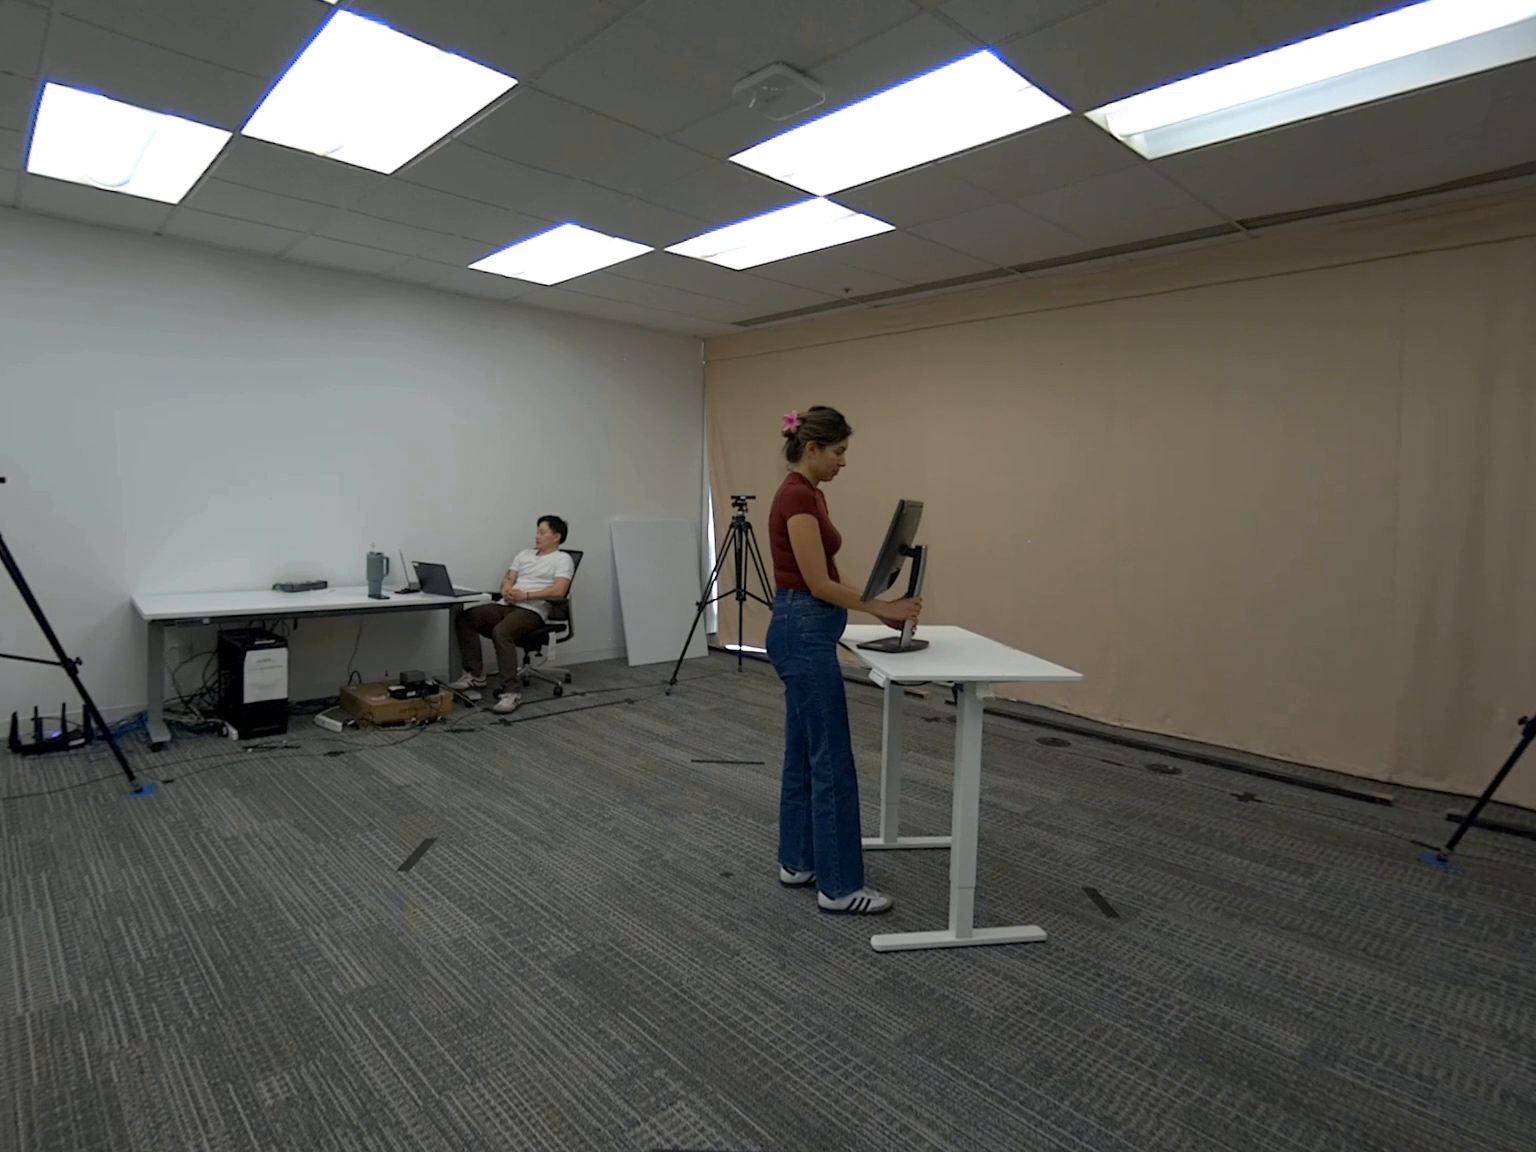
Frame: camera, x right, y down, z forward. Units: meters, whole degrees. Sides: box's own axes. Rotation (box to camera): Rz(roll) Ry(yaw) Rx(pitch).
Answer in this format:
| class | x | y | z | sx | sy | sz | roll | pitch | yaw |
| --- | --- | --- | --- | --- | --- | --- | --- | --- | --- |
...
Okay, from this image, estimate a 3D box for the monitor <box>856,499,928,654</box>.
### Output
| class | x | y | z | sx | sy | sz | roll | pitch | yaw |
| --- | --- | --- | --- | --- | --- | --- | --- | --- | --- |
| monitor | 0.462 | -0.002 | 2.919 | 0.190 | 0.521 | 0.533 | 6 | 5 | 15 |
